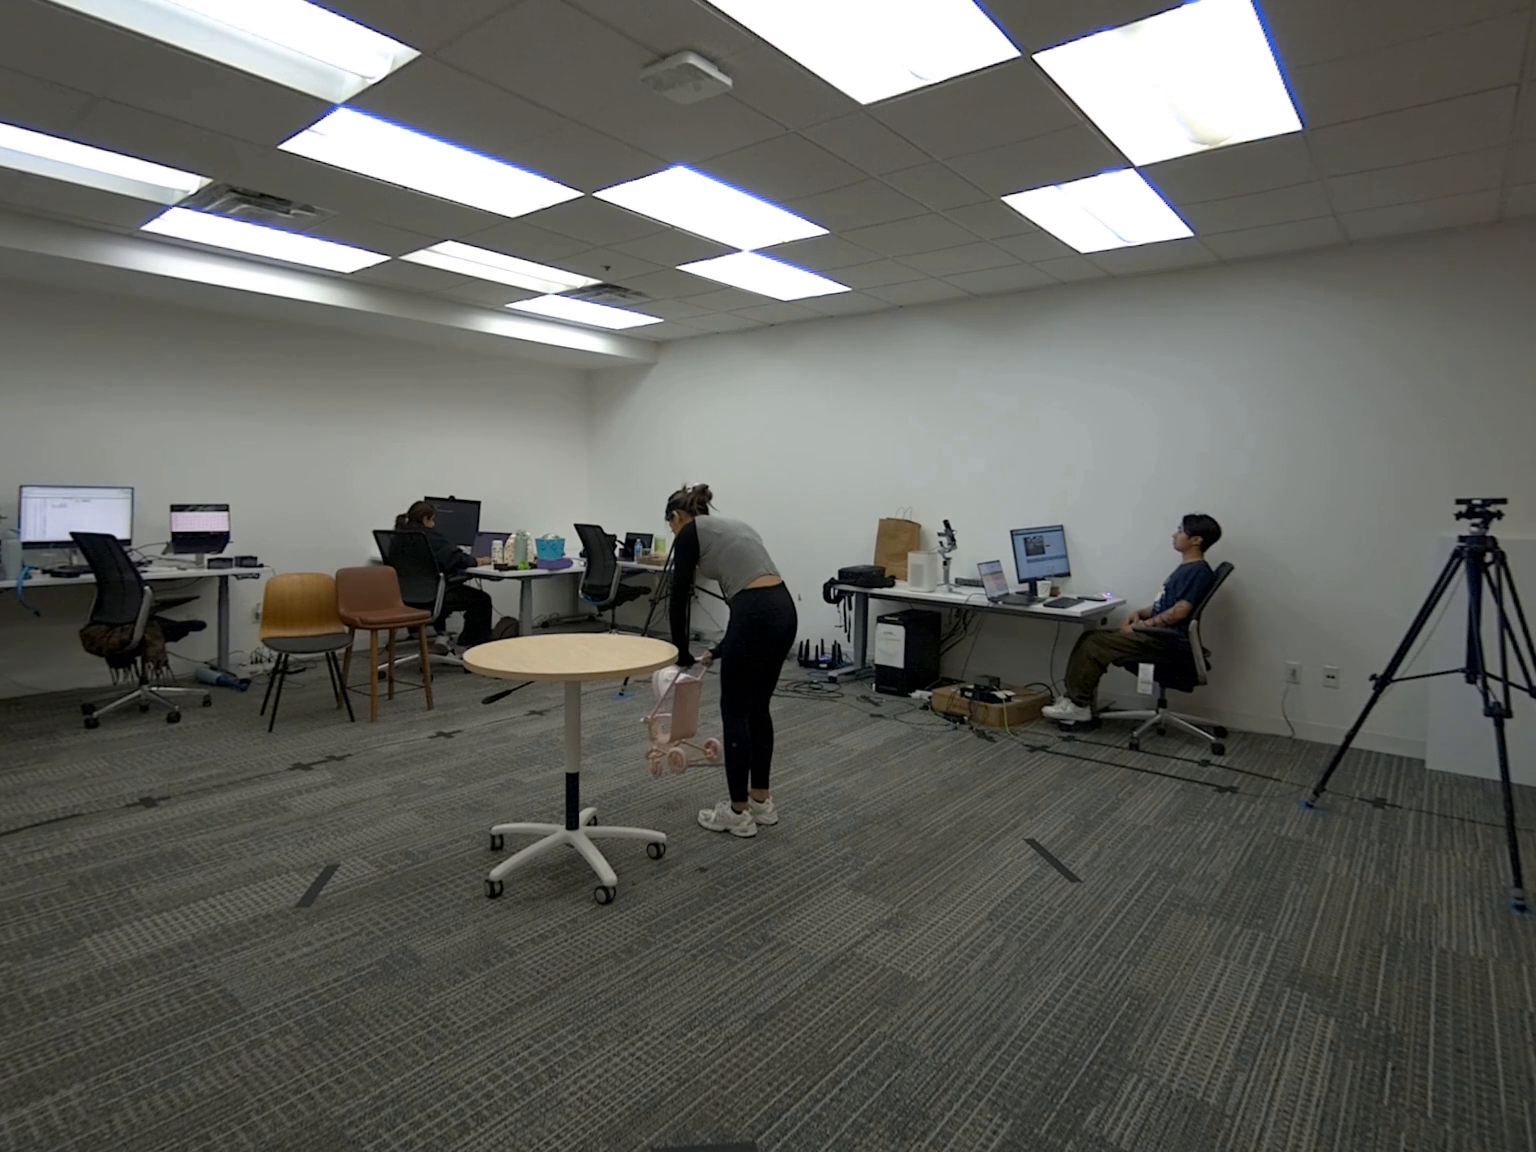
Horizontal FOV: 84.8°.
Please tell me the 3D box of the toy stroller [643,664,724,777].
[{"bbox_3d":[-0.422,0.627,3.784,0.351,0.537,0.273,-6,-3,40],"label":"toy stroller"}]
